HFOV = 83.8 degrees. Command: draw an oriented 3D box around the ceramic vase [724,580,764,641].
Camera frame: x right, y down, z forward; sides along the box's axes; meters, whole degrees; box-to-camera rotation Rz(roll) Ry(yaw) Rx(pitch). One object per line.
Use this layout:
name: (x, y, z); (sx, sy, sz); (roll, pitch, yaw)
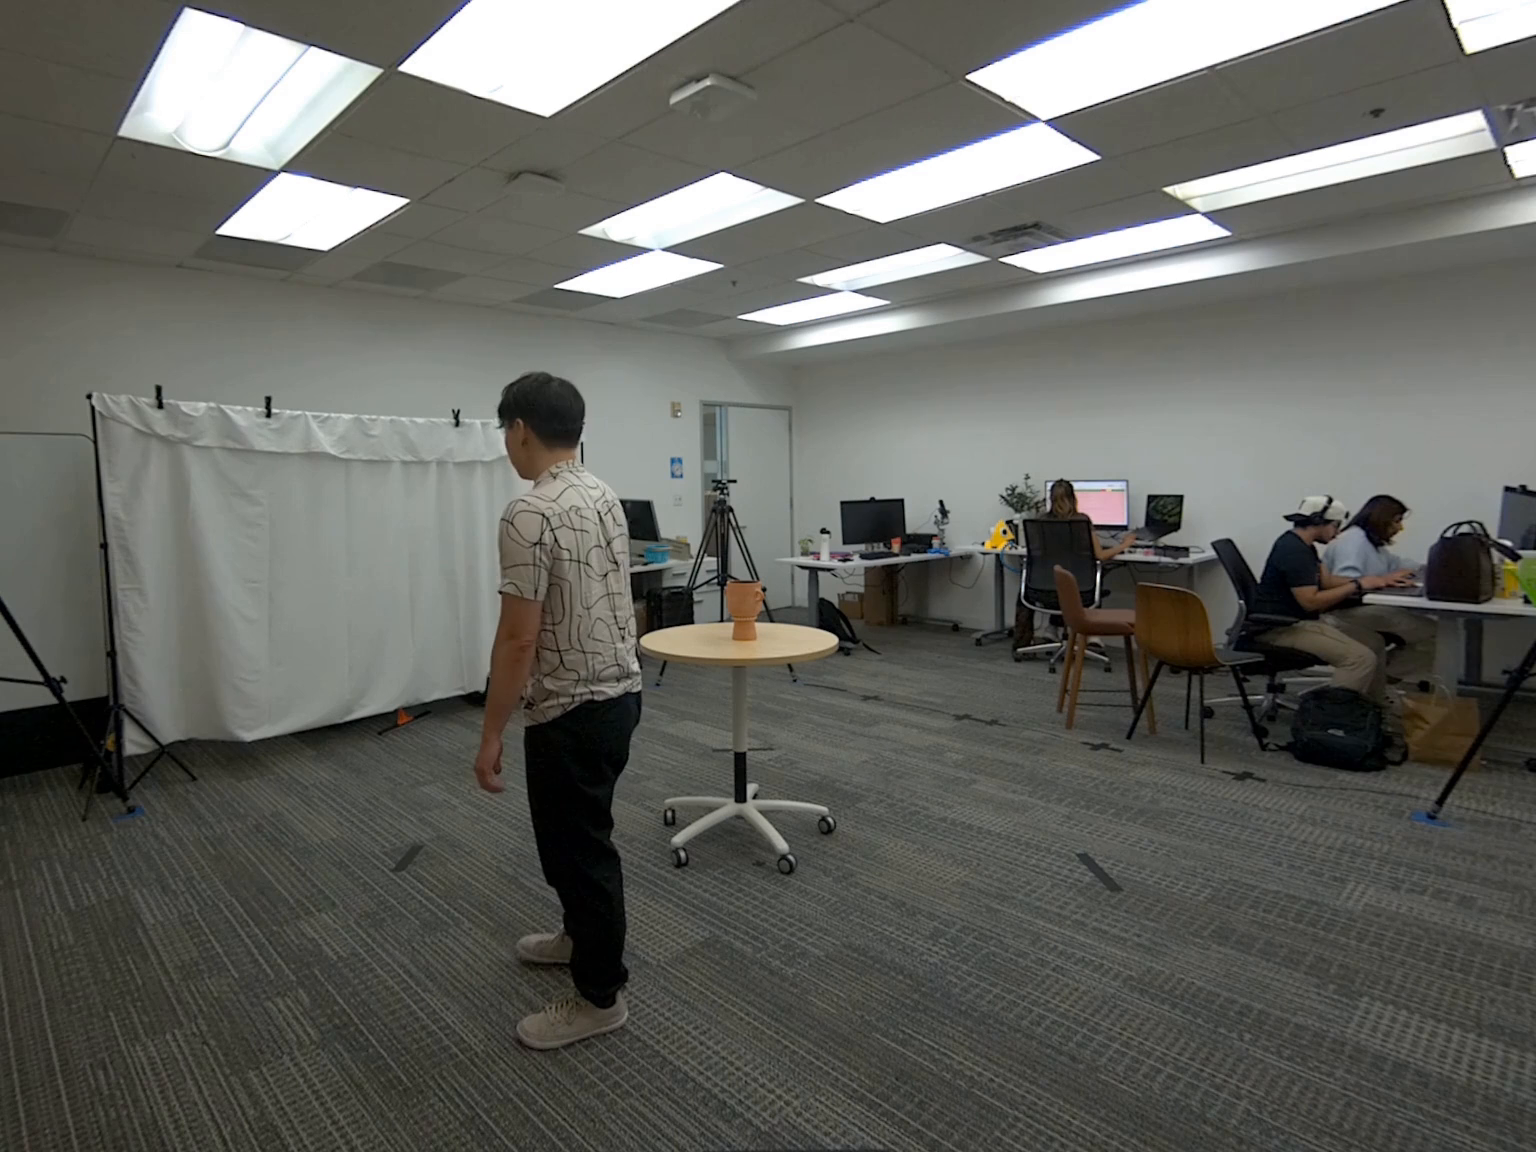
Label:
ceramic vase: (-0.089, 0.135, 3.300); (0.133, 0.219, 0.160); (-2, 2, -10)
